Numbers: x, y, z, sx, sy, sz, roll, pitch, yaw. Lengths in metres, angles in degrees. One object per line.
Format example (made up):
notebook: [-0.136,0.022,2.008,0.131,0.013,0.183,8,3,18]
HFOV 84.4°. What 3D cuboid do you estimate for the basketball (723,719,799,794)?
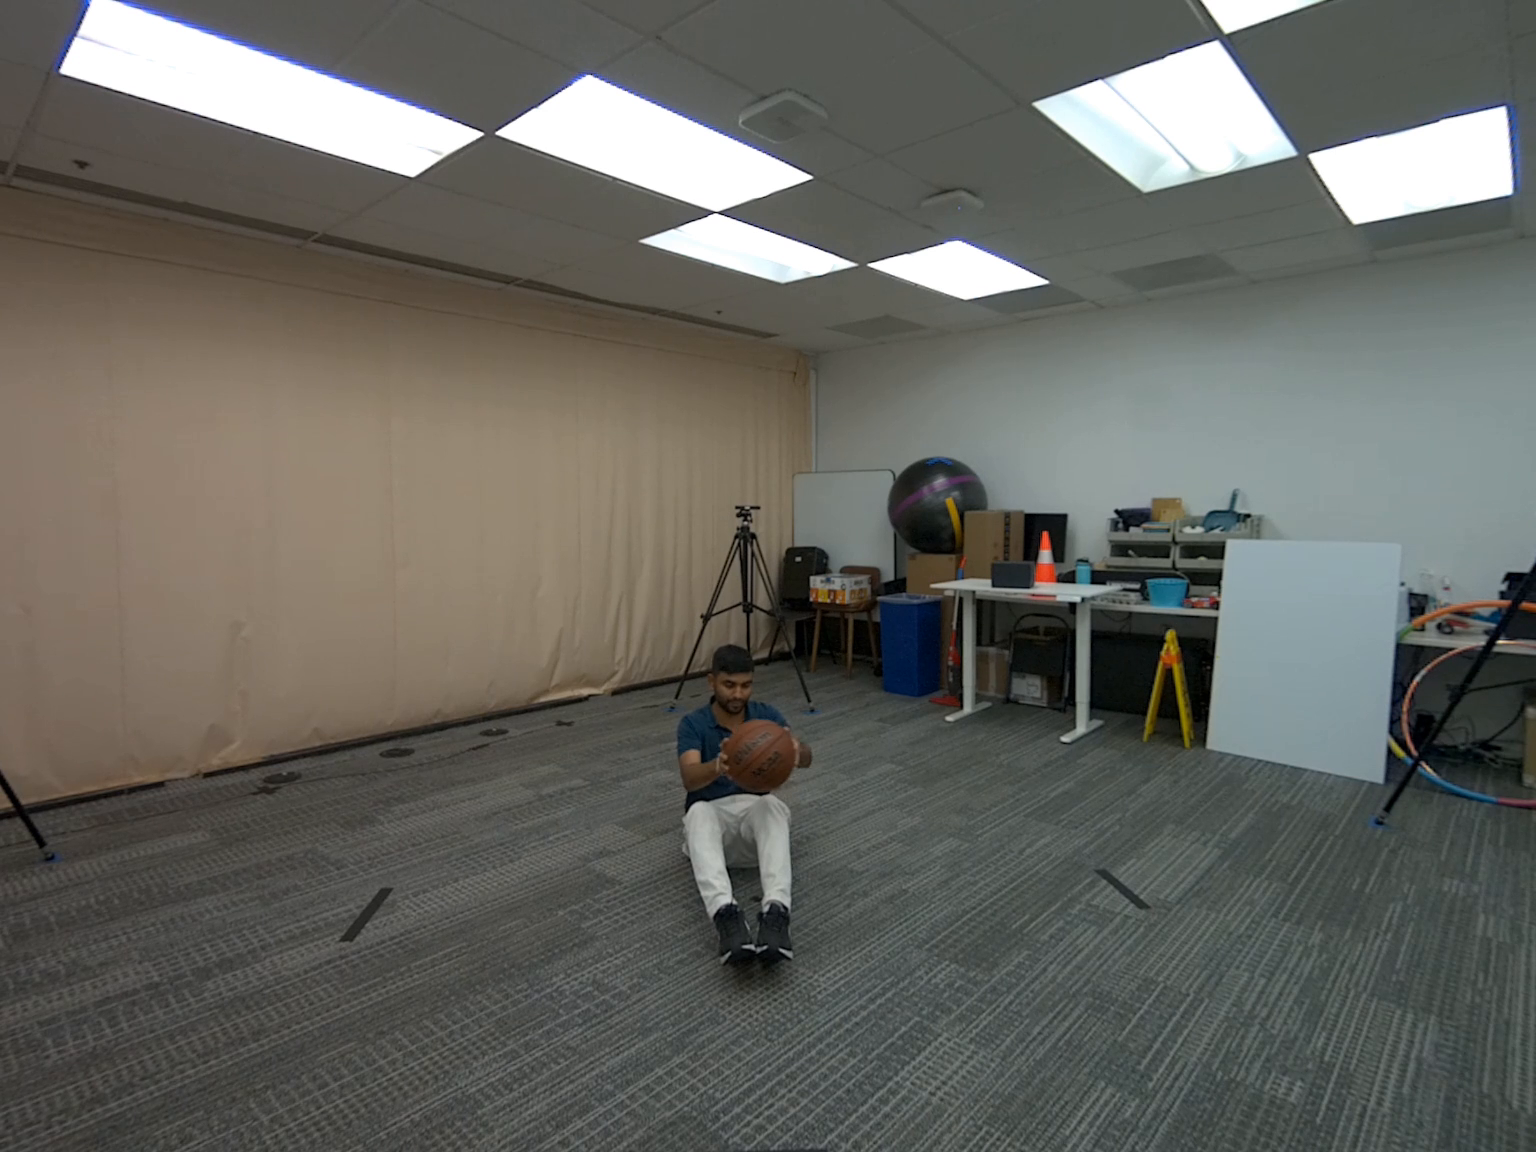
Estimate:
basketball: [-0.043,0.605,2.851,0.236,0.235,0.237,0,4,-2]
